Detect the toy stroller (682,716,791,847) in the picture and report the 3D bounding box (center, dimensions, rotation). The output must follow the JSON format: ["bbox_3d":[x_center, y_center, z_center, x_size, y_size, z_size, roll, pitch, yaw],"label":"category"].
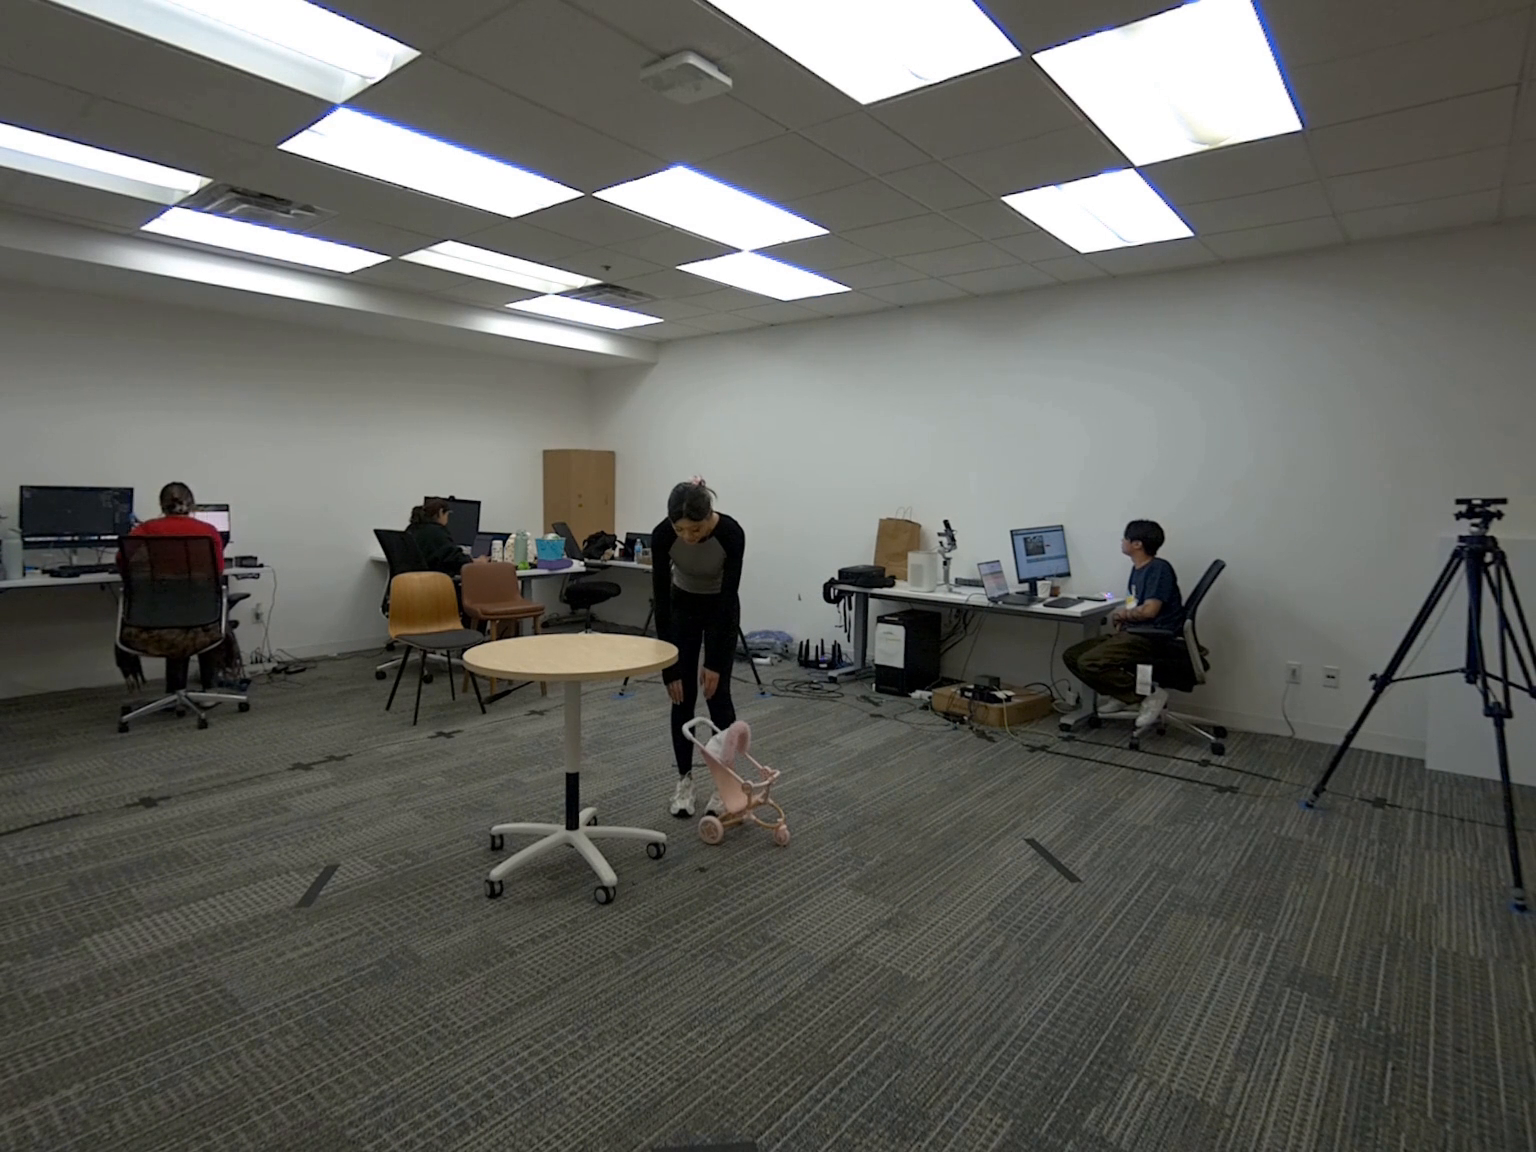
[{"bbox_3d":[-0.123,0.816,3.408,0.348,0.537,0.275,-14,-4,28],"label":"toy stroller"}]
